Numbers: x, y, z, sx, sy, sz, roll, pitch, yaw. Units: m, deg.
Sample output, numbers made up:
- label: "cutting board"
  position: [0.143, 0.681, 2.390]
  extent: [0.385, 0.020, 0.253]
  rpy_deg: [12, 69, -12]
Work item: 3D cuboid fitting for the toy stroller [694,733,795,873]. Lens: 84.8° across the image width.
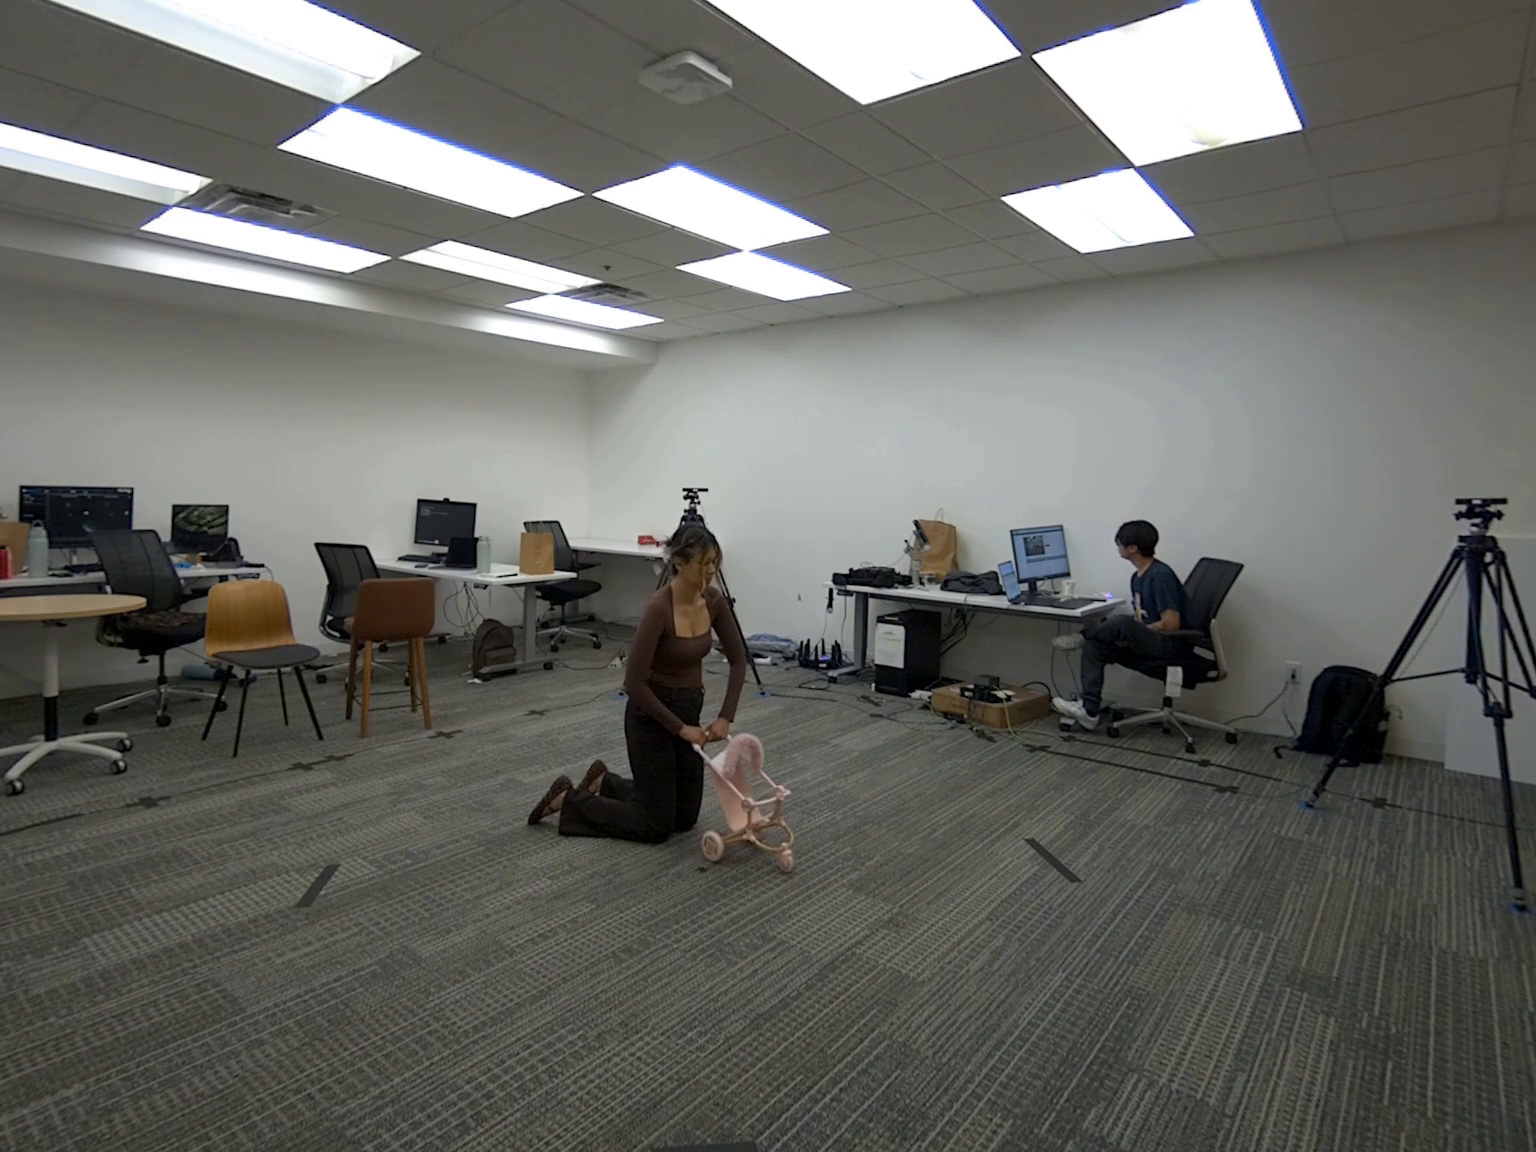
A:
- label: "toy stroller"
  position: [-0.085, 0.837, 3.216]
  extent: [0.273, 0.541, 0.348]
  rpy_deg: [-2, -13, -45]
